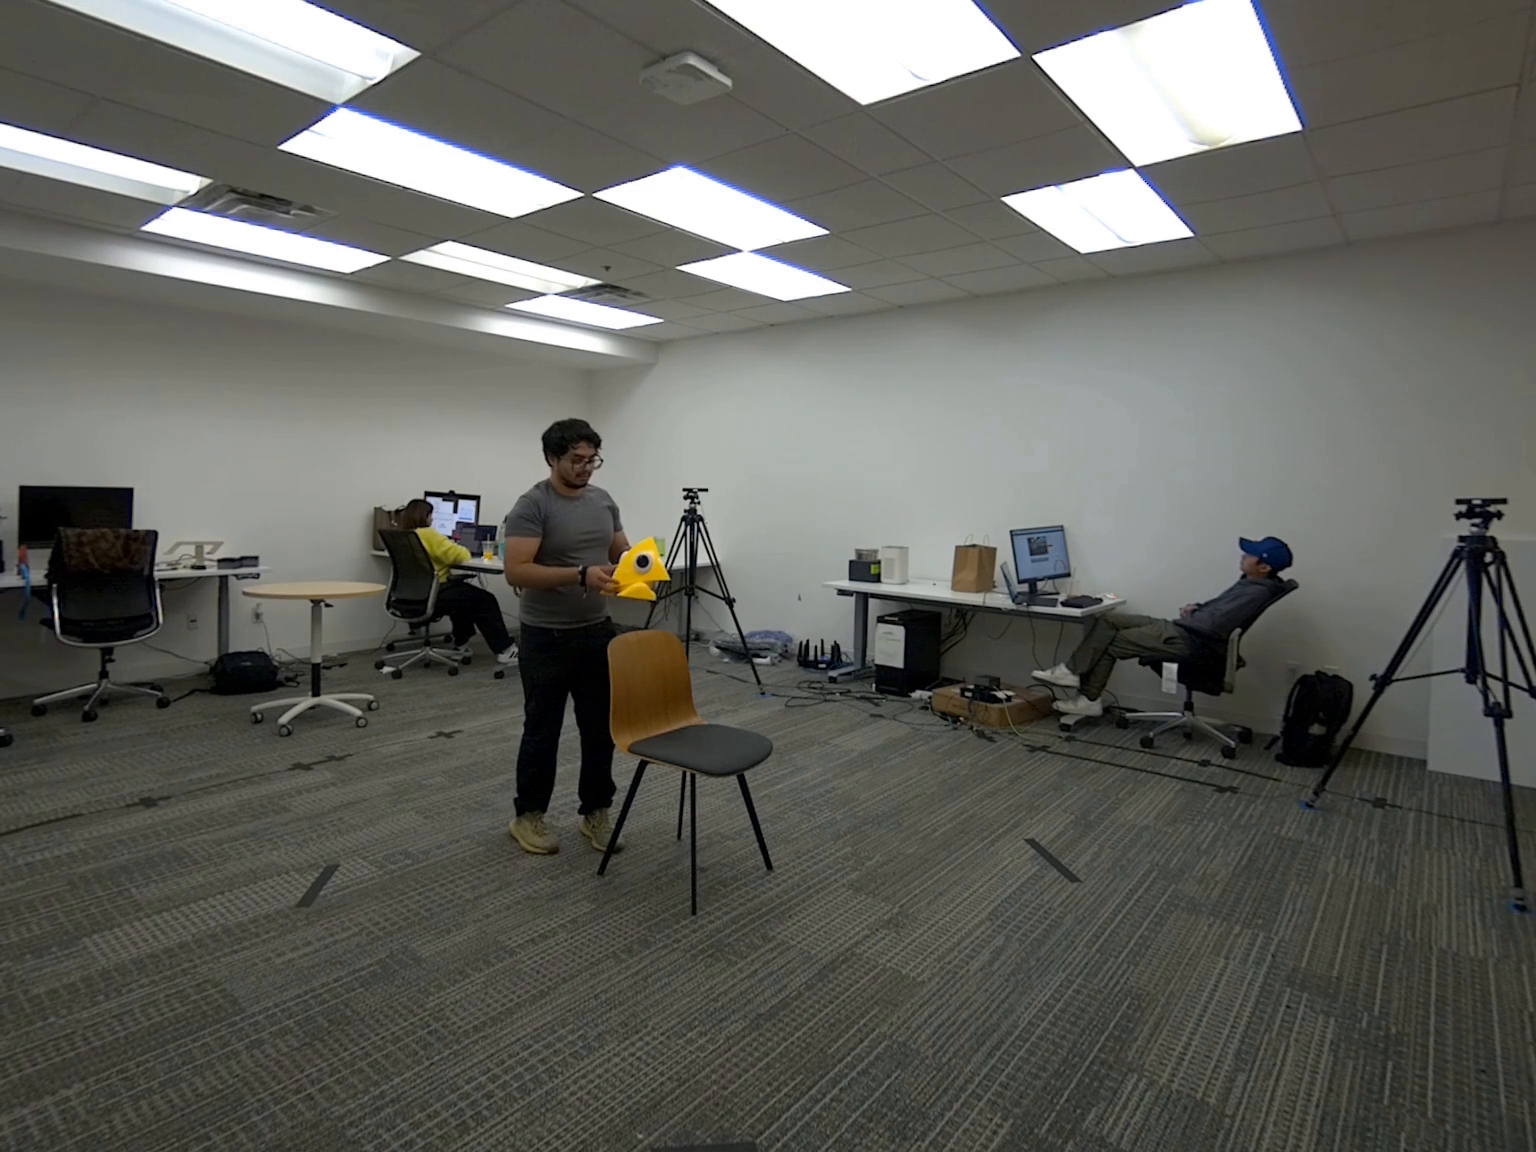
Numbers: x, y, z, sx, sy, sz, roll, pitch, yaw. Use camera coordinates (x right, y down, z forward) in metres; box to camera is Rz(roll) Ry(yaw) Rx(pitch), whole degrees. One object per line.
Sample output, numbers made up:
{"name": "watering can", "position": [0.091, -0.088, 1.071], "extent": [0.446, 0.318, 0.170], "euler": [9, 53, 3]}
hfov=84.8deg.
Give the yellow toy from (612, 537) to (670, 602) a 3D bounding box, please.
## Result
{"name": "yellow toy", "position": [-0.502, -0.038, 3.066], "extent": [0.186, 0.232, 0.211], "euler": [11, -6, -41]}
